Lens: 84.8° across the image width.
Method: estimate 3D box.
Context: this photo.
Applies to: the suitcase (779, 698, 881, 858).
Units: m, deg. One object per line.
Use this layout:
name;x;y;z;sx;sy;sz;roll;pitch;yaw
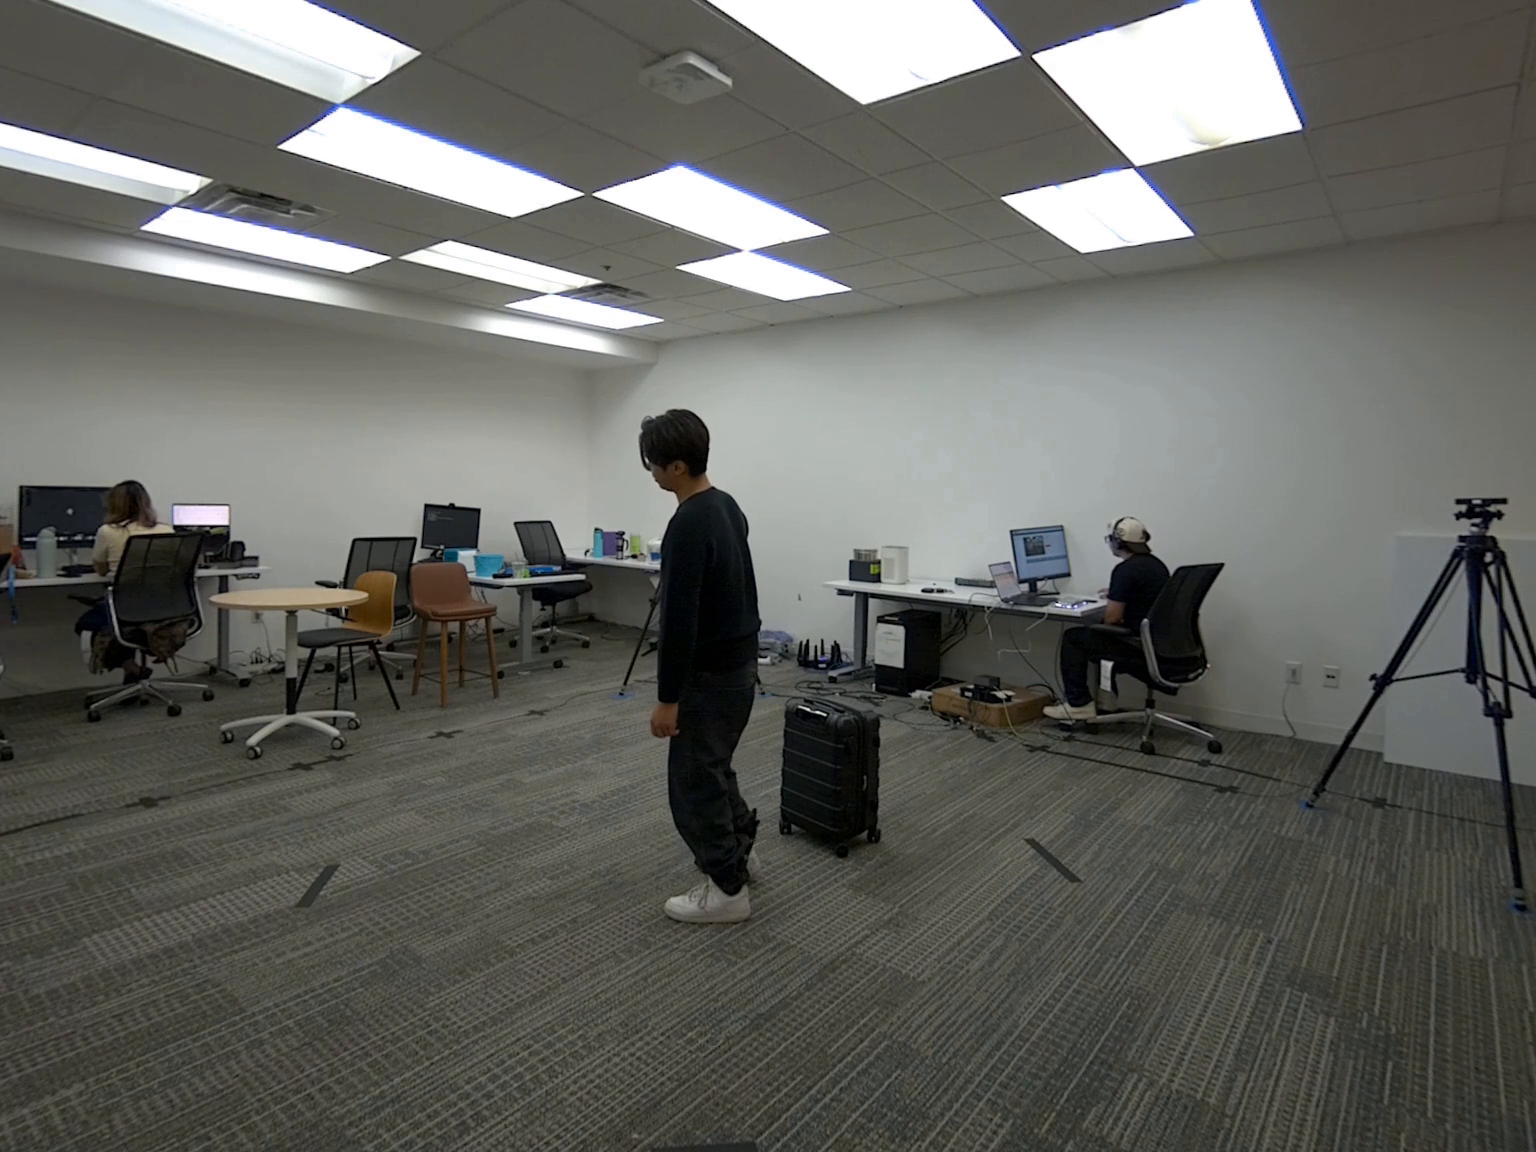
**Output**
suitcase;0.239;0.769;3.423;0.241;0.548;0.388;-1;4;-41
